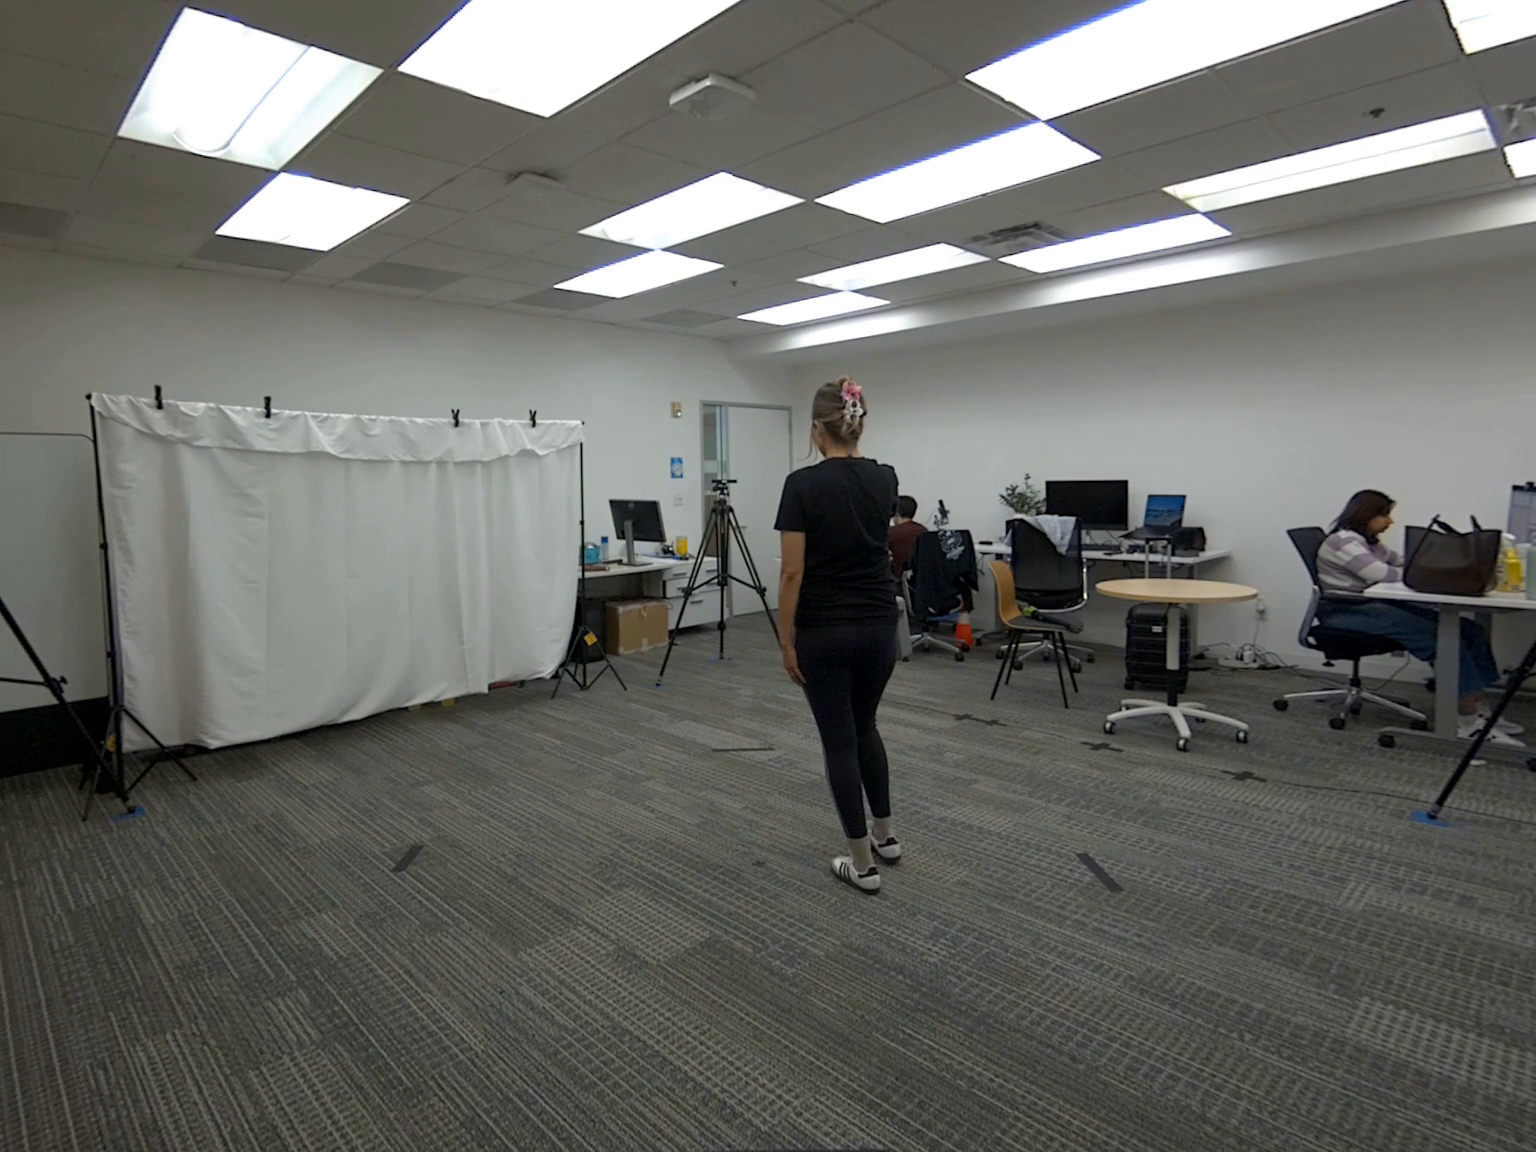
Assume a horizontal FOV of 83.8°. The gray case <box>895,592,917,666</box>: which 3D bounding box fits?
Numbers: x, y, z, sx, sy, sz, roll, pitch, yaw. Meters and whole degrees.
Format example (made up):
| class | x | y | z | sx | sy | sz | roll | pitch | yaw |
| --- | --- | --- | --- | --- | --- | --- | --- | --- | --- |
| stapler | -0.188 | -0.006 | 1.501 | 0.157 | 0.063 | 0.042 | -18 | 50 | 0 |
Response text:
| class | x | y | z | sx | sy | sz | roll | pitch | yaw |
| --- | --- | --- | --- | --- | --- | --- | --- | --- | --- |
| gray case | 0.460 | 0.196 | 3.475 | 0.102 | 0.258 | 0.264 | -14 | 11 | -26 |
